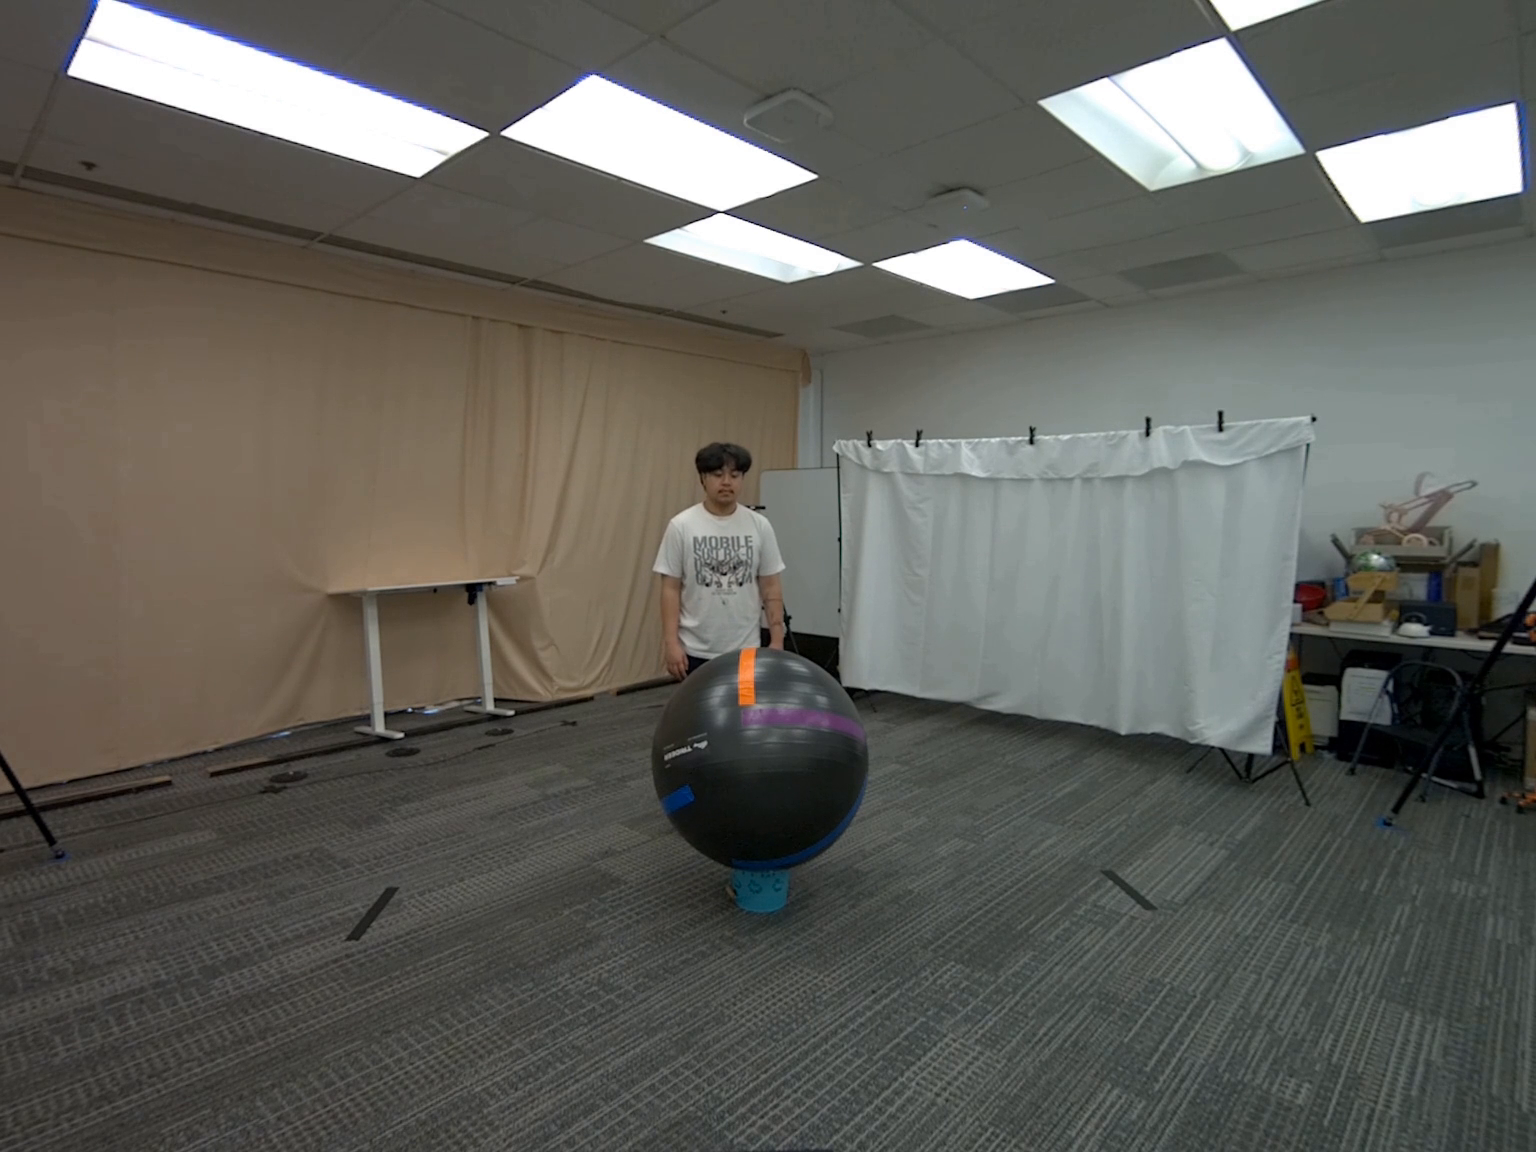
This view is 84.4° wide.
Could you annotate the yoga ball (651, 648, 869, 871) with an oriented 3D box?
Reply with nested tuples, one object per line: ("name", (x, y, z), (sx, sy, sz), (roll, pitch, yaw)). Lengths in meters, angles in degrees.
("yoga ball", (-0.032, 0.637, 2.948), (0.757, 0.756, 0.761), (0, 4, -2))
